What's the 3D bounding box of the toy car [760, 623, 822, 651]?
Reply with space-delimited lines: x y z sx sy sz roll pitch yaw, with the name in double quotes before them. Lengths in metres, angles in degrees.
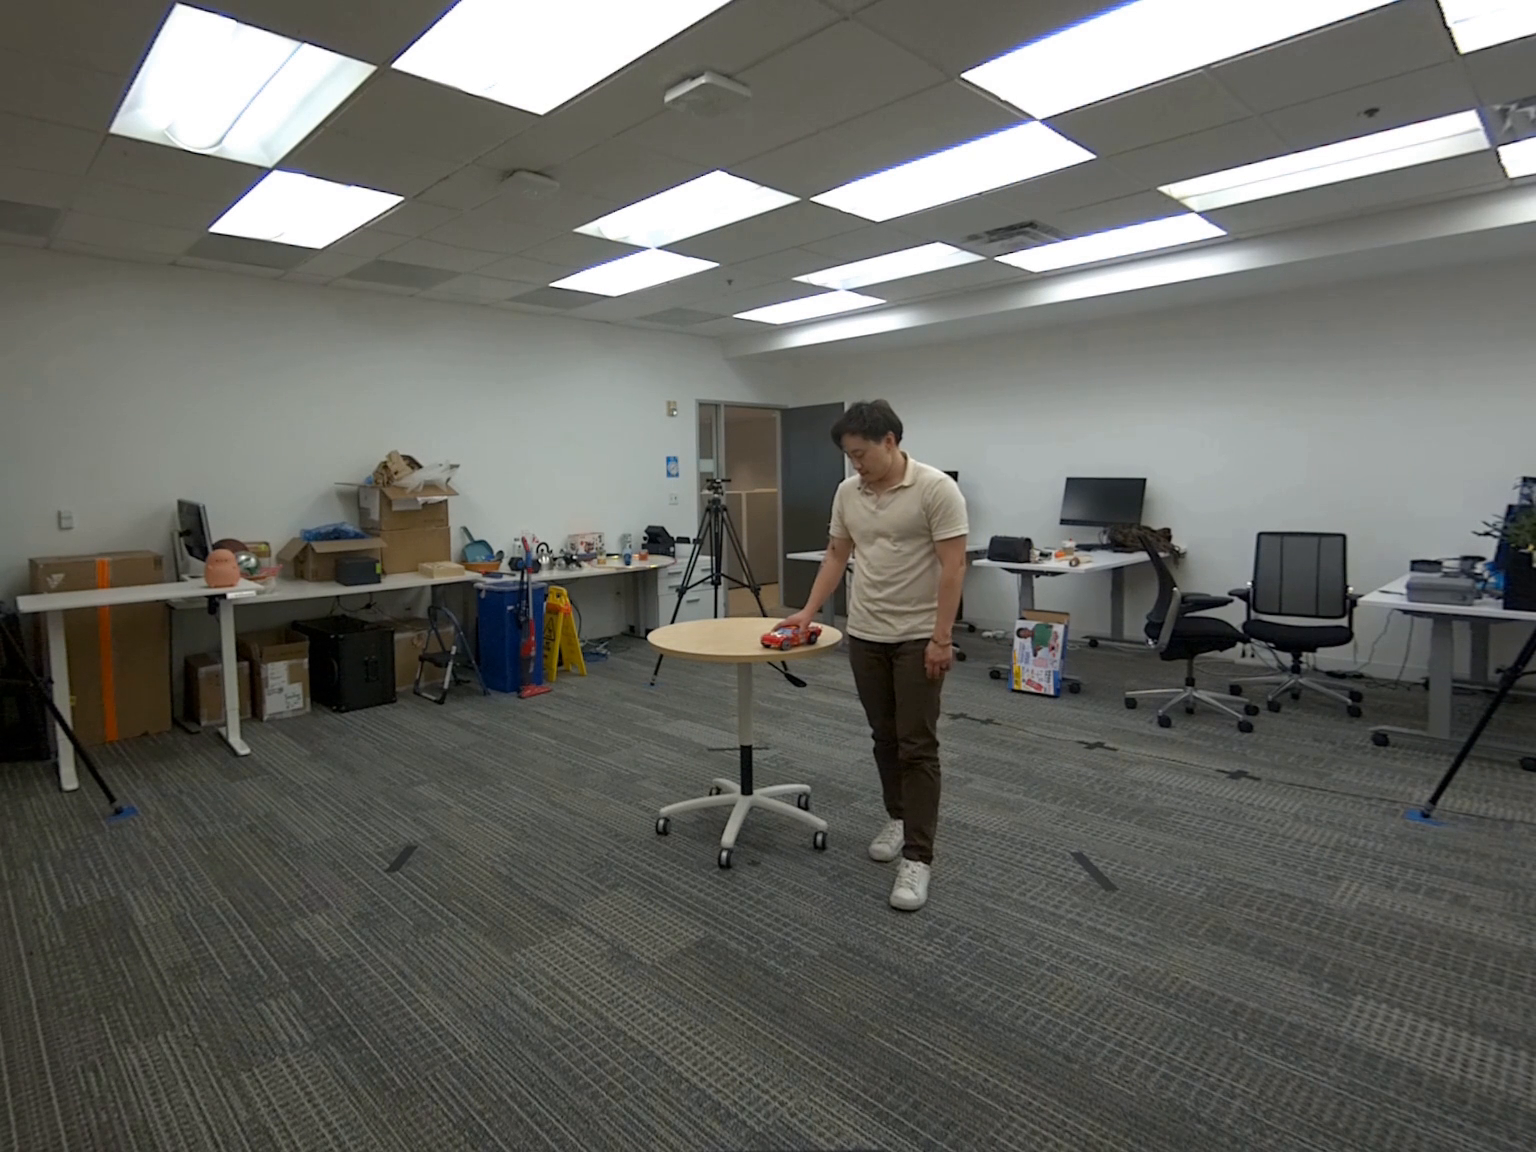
"toy car" 0.102 0.224 3.153 0.250 0.082 0.134 -21 16 -41
